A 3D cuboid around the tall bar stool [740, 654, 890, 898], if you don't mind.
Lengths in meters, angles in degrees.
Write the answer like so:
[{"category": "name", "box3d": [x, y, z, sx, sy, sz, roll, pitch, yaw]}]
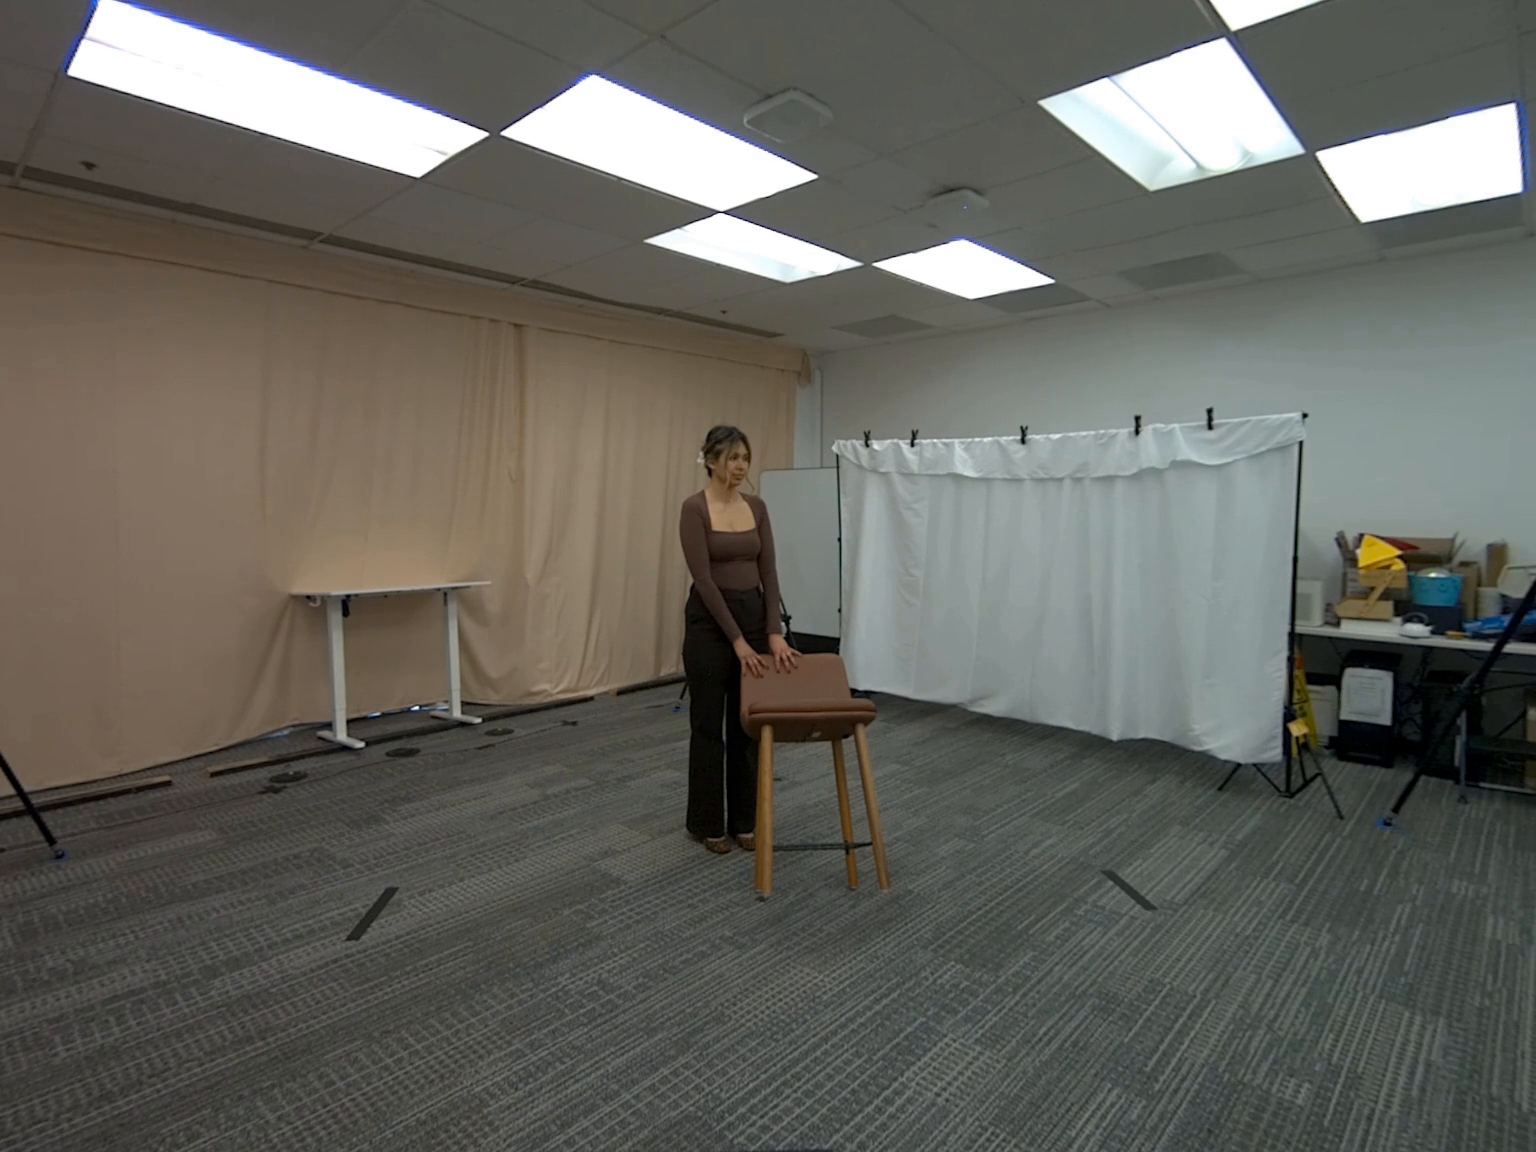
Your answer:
[{"category": "tall bar stool", "box3d": [0.147, 0.657, 3.016, 0.455, 0.902, 0.463, -1, -22, -4]}]
